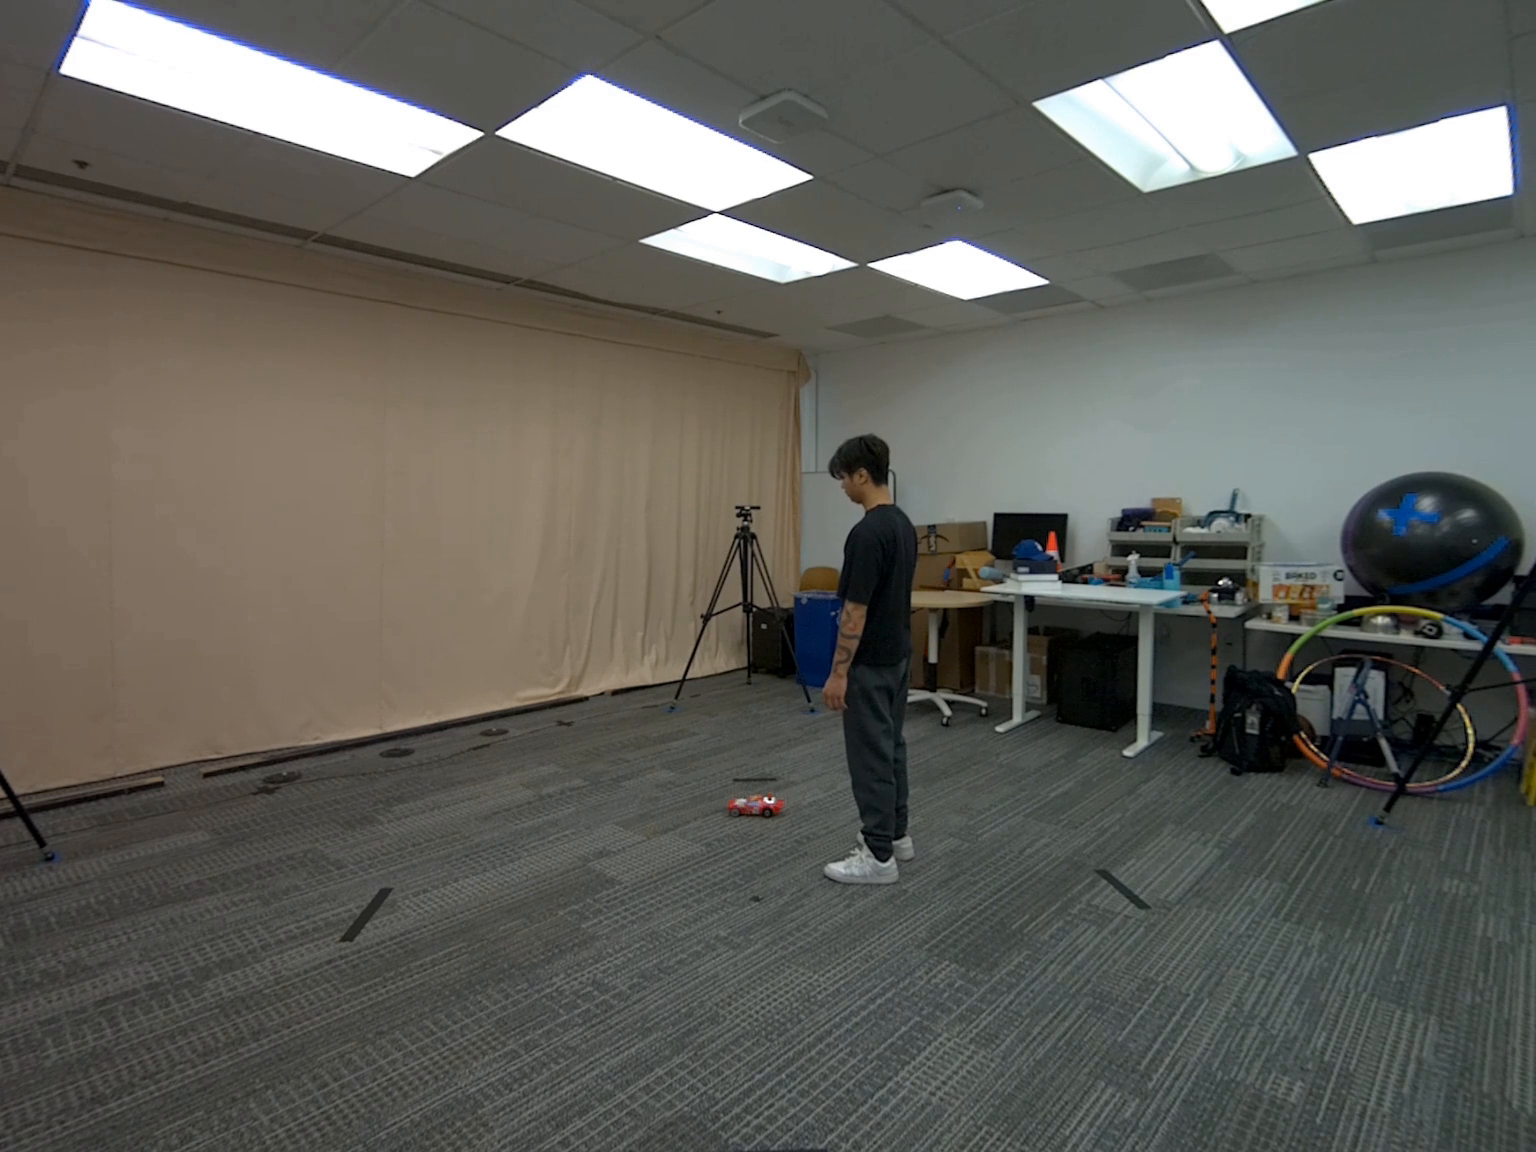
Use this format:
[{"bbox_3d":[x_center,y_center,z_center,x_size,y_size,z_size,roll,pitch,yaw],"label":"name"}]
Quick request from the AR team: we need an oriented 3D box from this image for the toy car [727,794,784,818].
[{"bbox_3d":[-0.052,1.045,3.819,0.256,0.083,0.130,-10,4,7],"label":"toy car"}]
